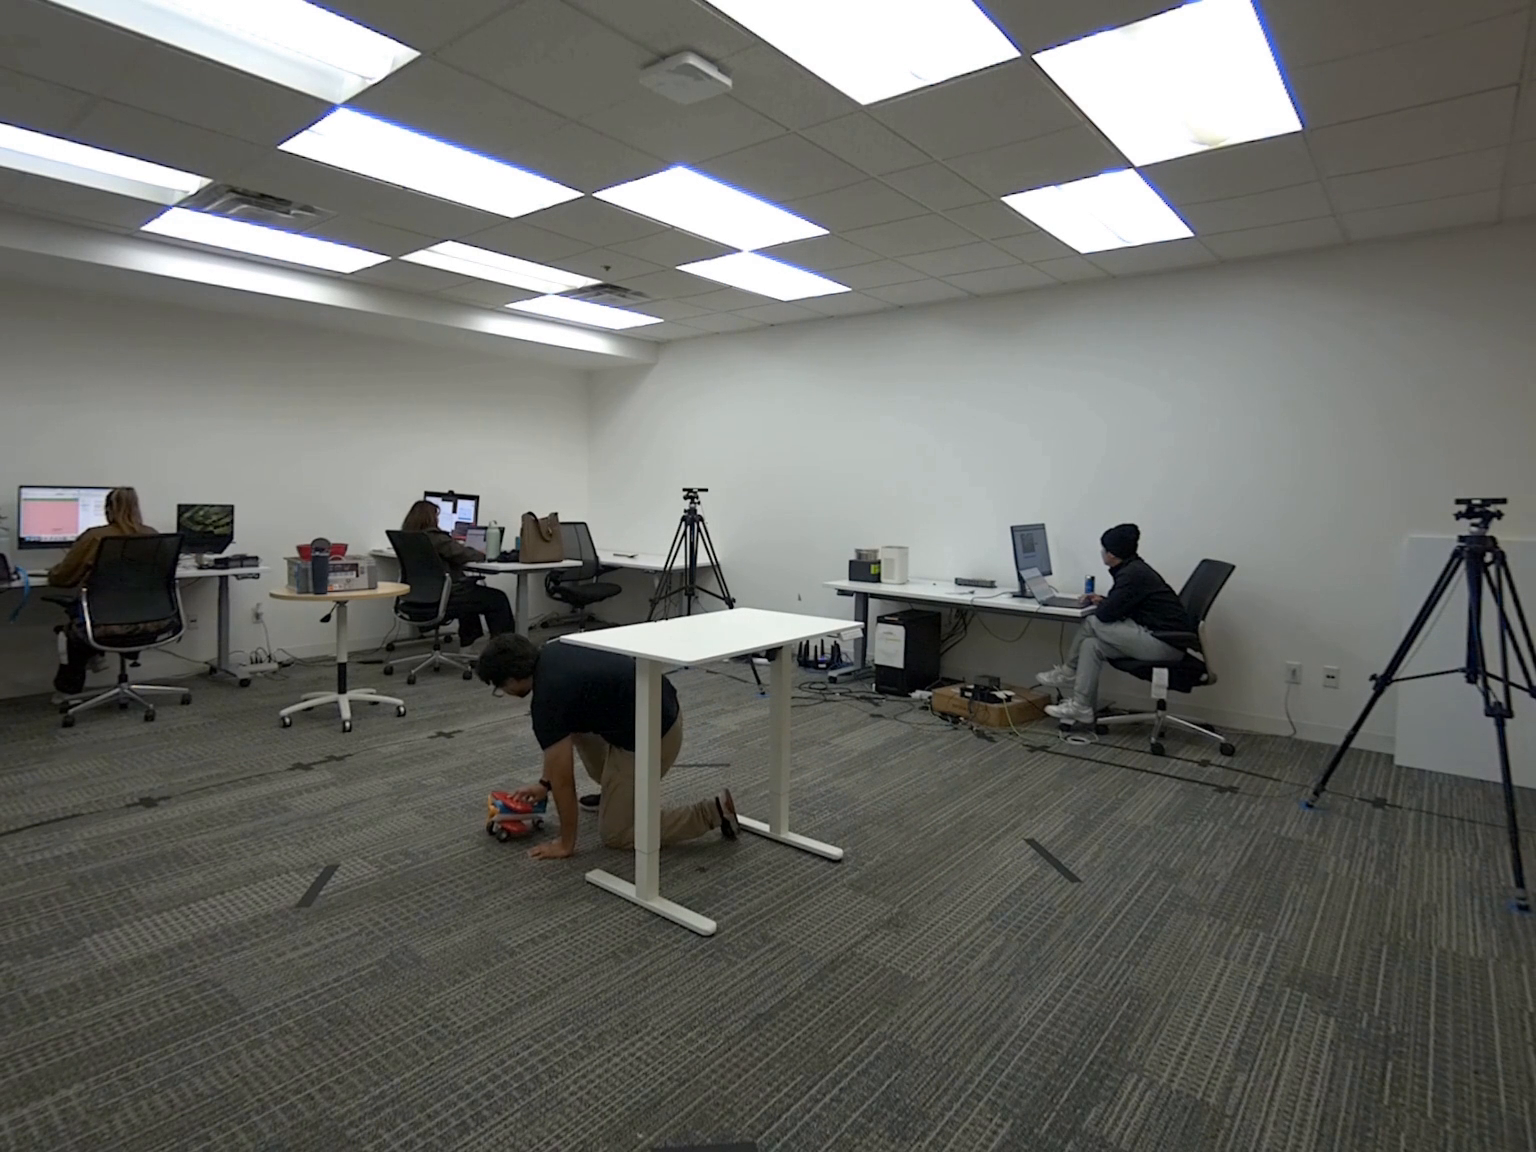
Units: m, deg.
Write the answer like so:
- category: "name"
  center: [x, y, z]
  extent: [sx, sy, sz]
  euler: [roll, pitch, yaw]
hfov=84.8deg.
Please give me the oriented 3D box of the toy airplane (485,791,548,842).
- category: "toy airplane"
  center: [-1.028, 0.953, 3.424]
  extent: [0.256, 0.155, 0.255]
  euler: [3, 7, 19]
